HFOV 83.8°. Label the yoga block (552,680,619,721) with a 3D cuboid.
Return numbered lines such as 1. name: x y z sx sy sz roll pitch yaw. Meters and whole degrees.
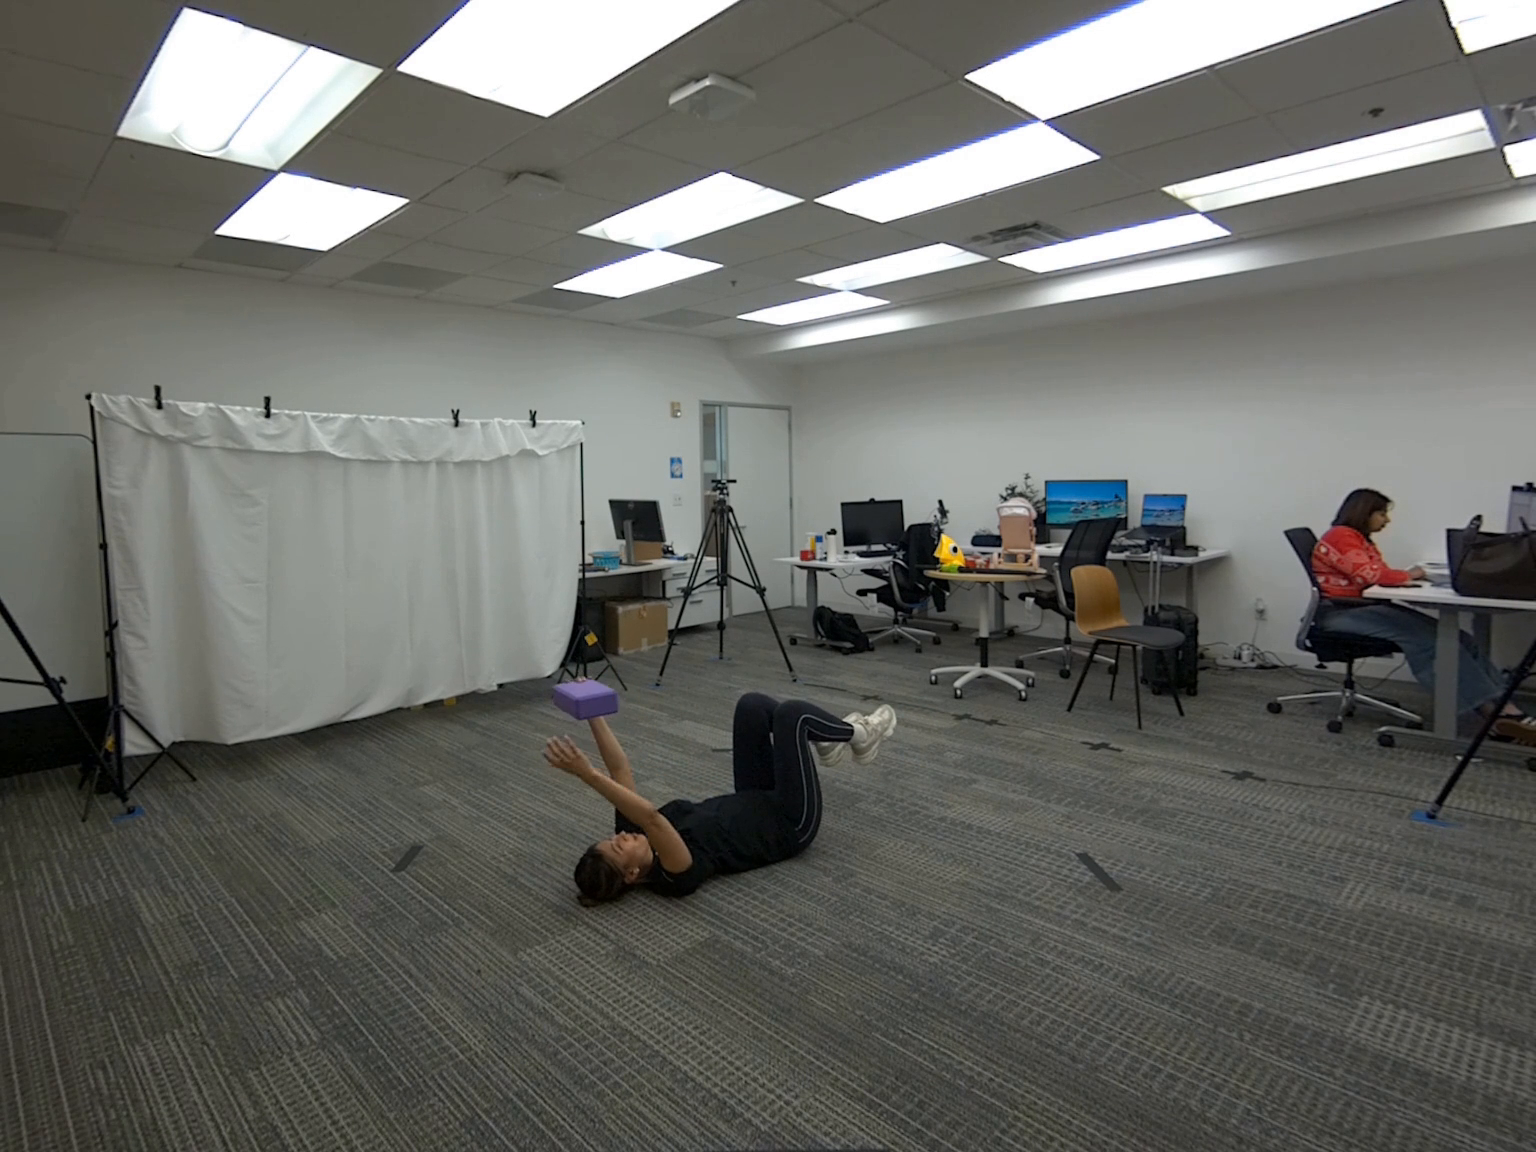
1. yoga block: -0.617 0.412 2.860 0.146 0.076 0.236 -7 8 -30
